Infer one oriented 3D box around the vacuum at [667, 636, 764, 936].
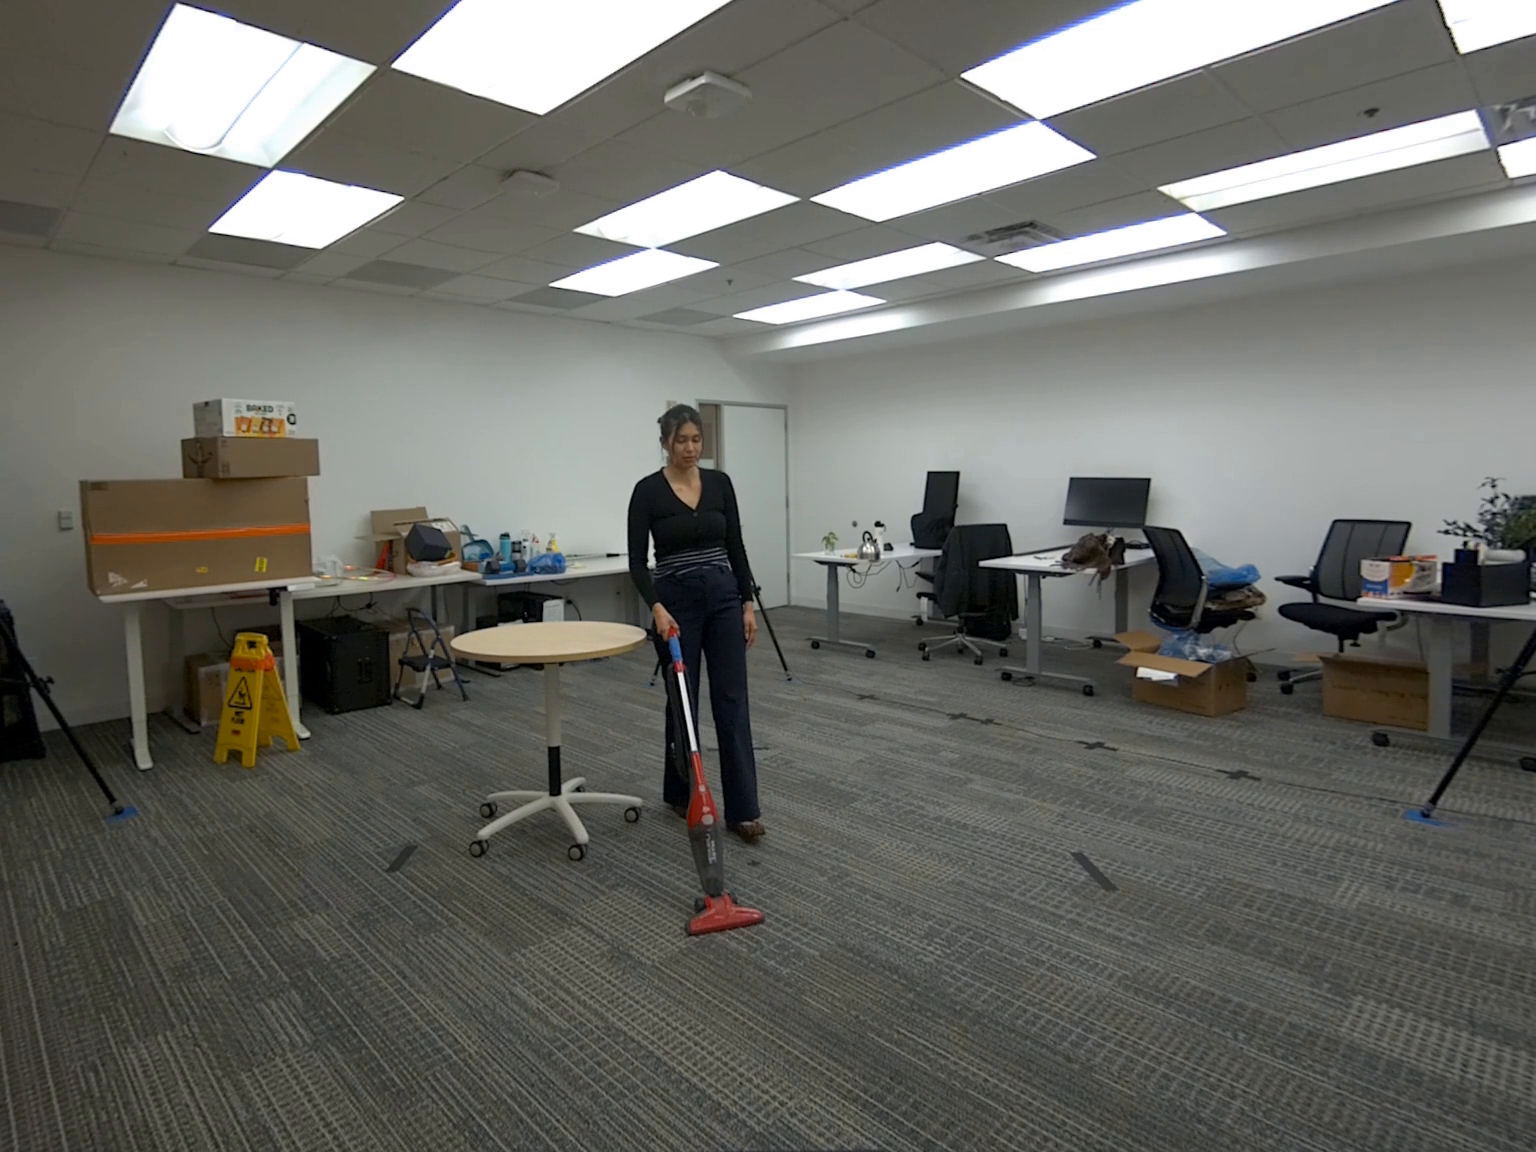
[{"bbox_3d":[-0.262,0.644,2.979,0.248,1.081,0.142,-1,-33,-20],"label":"vacuum"}]
